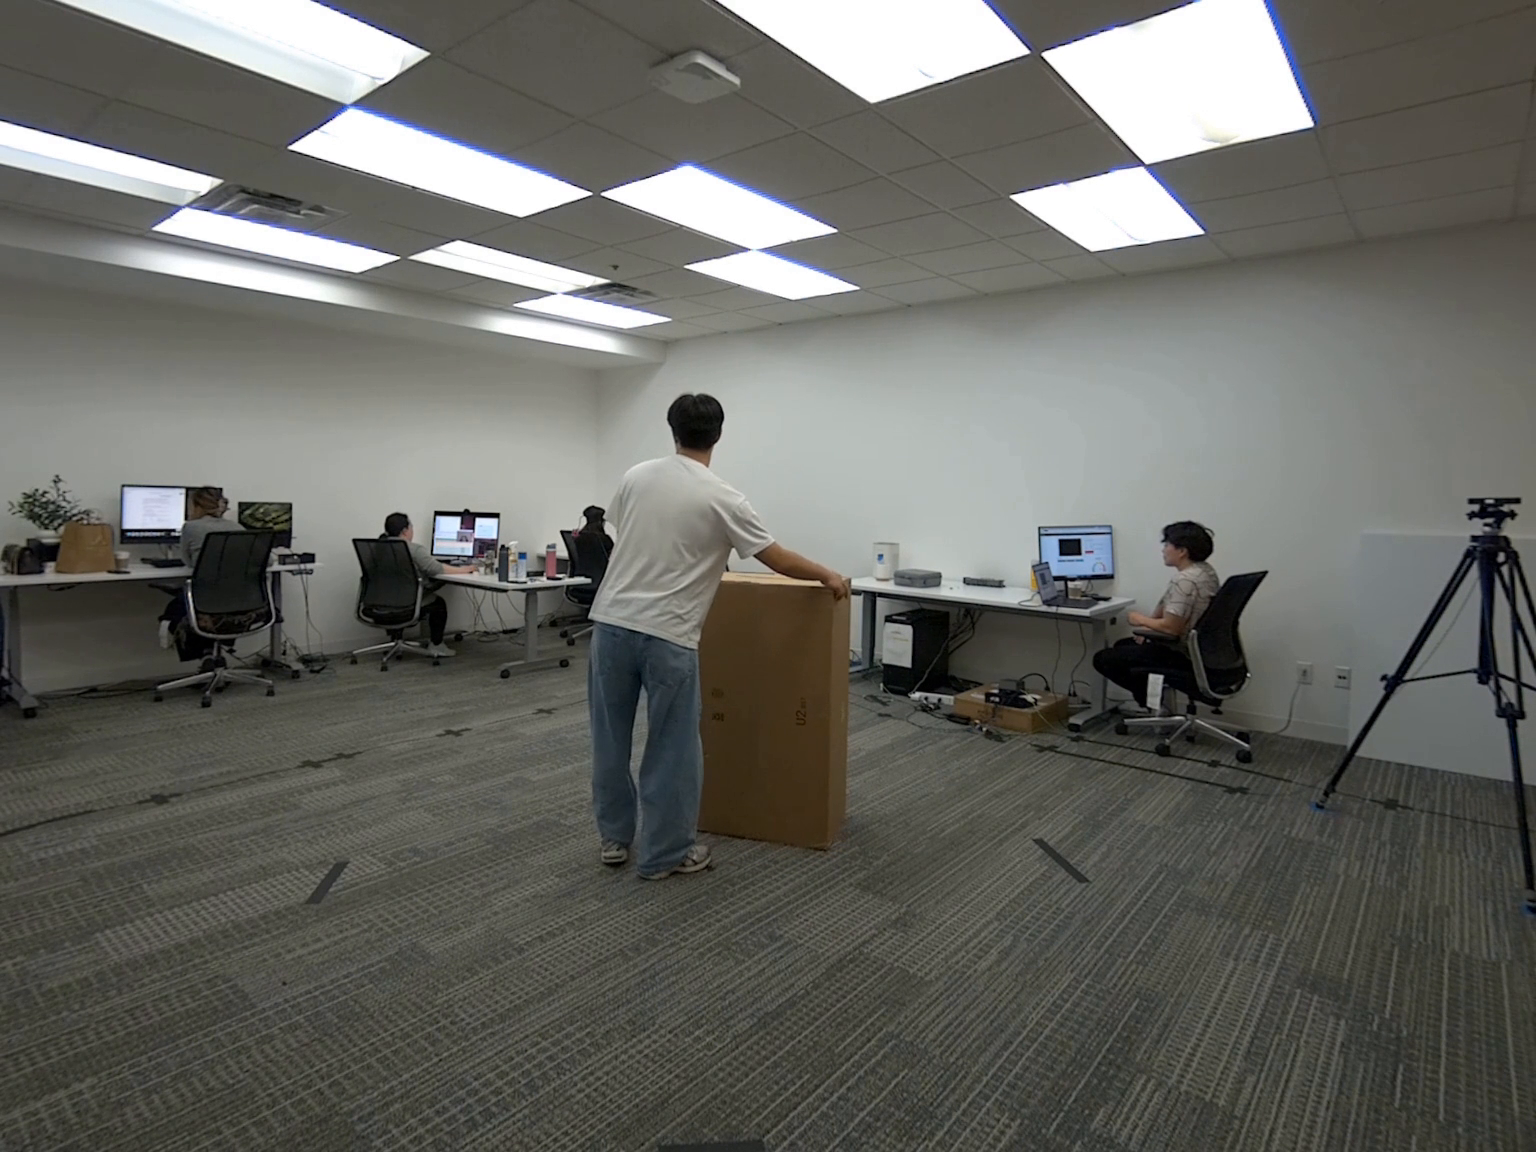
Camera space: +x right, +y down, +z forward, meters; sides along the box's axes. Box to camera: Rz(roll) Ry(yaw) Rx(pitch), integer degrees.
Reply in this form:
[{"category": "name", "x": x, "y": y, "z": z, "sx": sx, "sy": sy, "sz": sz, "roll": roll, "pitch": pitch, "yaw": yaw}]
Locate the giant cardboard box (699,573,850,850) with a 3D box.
[{"category": "giant cardboard box", "x": 0.010, "y": 0.516, "z": 3.550, "sx": 0.589, "sy": 1.023, "sz": 0.419, "roll": 2, "pitch": 3, "yaw": 17}]
